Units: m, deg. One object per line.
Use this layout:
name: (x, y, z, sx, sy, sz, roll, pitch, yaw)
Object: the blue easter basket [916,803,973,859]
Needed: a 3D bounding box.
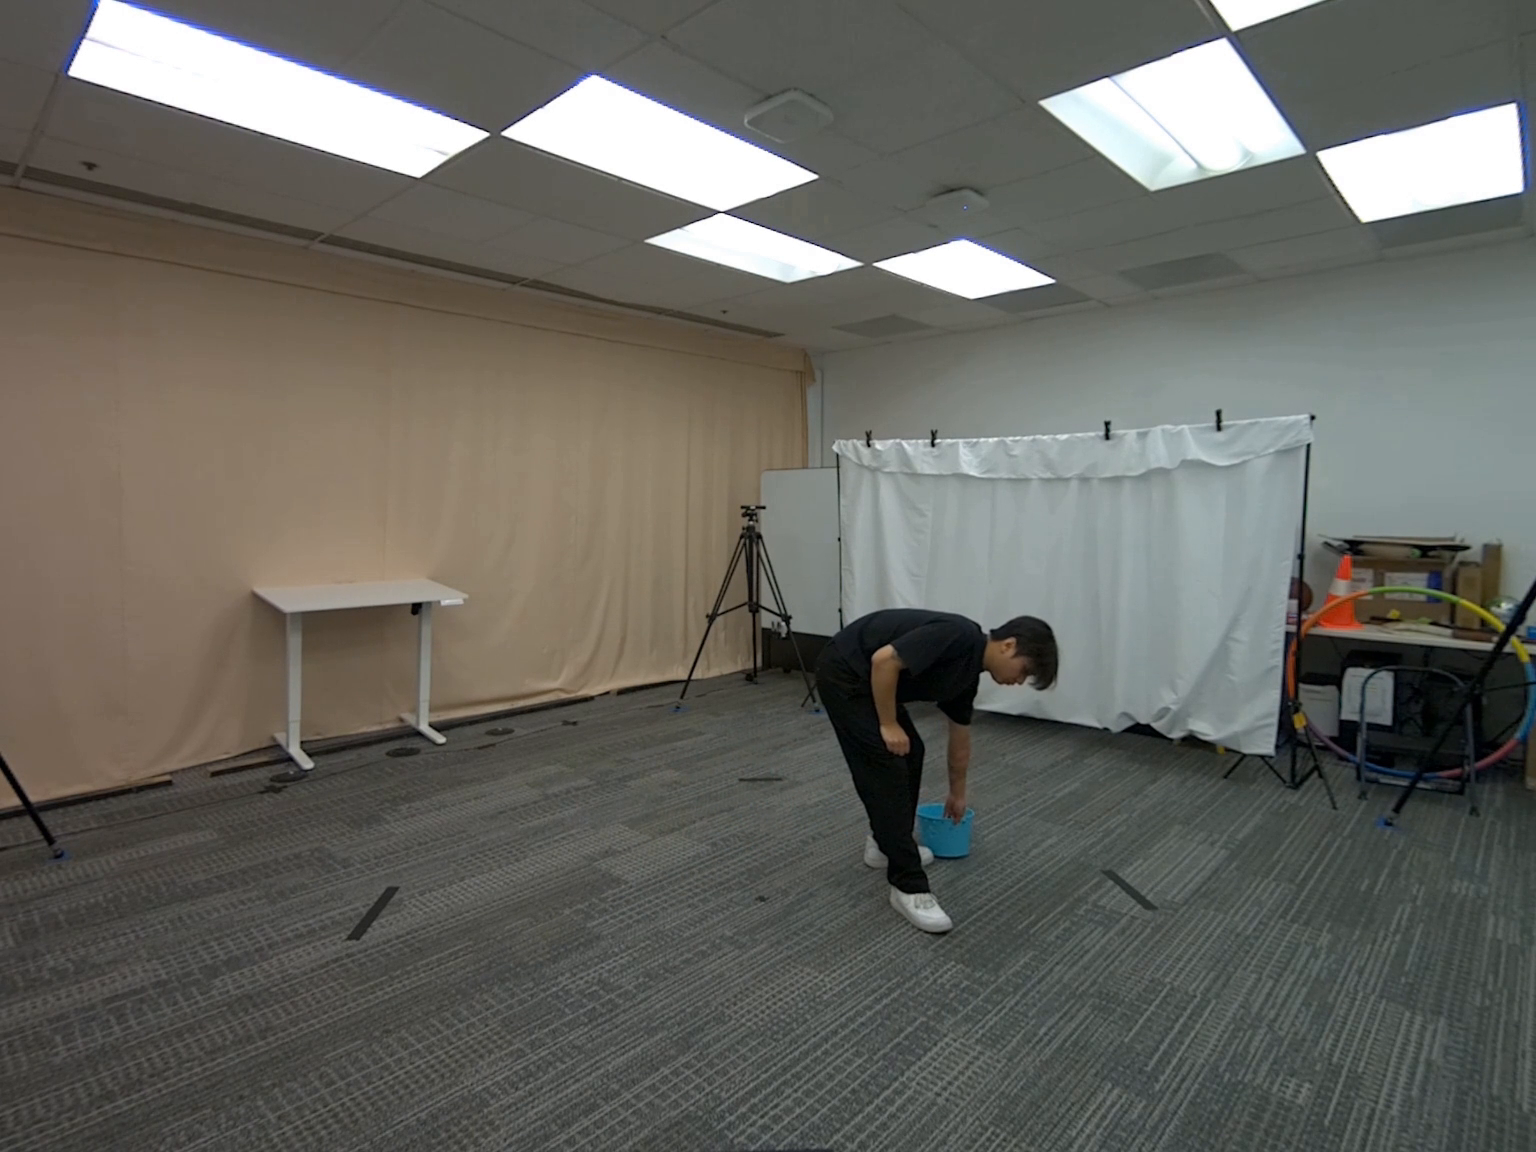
blue easter basket: (0.714, 1.026, 3.393, 0.243, 0.156, 0.244, -1, 0, -2)
